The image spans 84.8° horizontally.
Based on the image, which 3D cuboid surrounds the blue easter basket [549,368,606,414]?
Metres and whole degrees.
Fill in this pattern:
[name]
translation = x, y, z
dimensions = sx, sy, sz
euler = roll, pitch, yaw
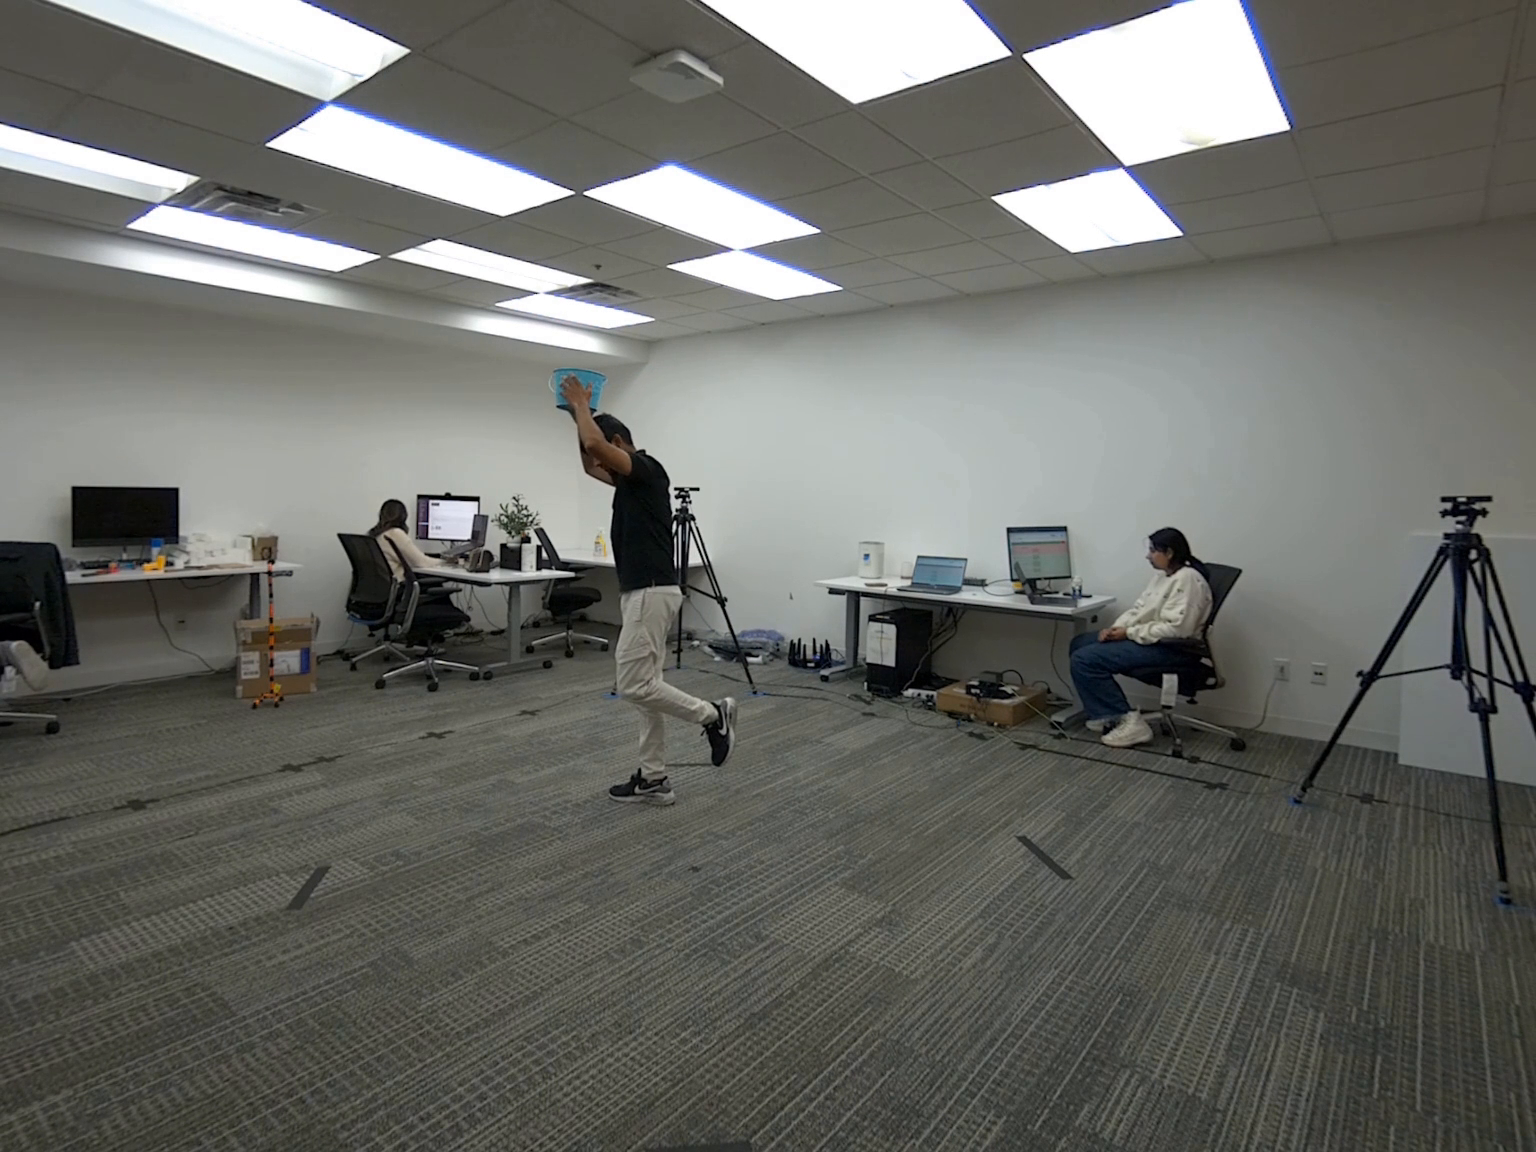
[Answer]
[blue easter basket]
translation = -0.856, -0.817, 3.735
dimensions = 0.243, 0.155, 0.244
euler = 2, 4, -2
